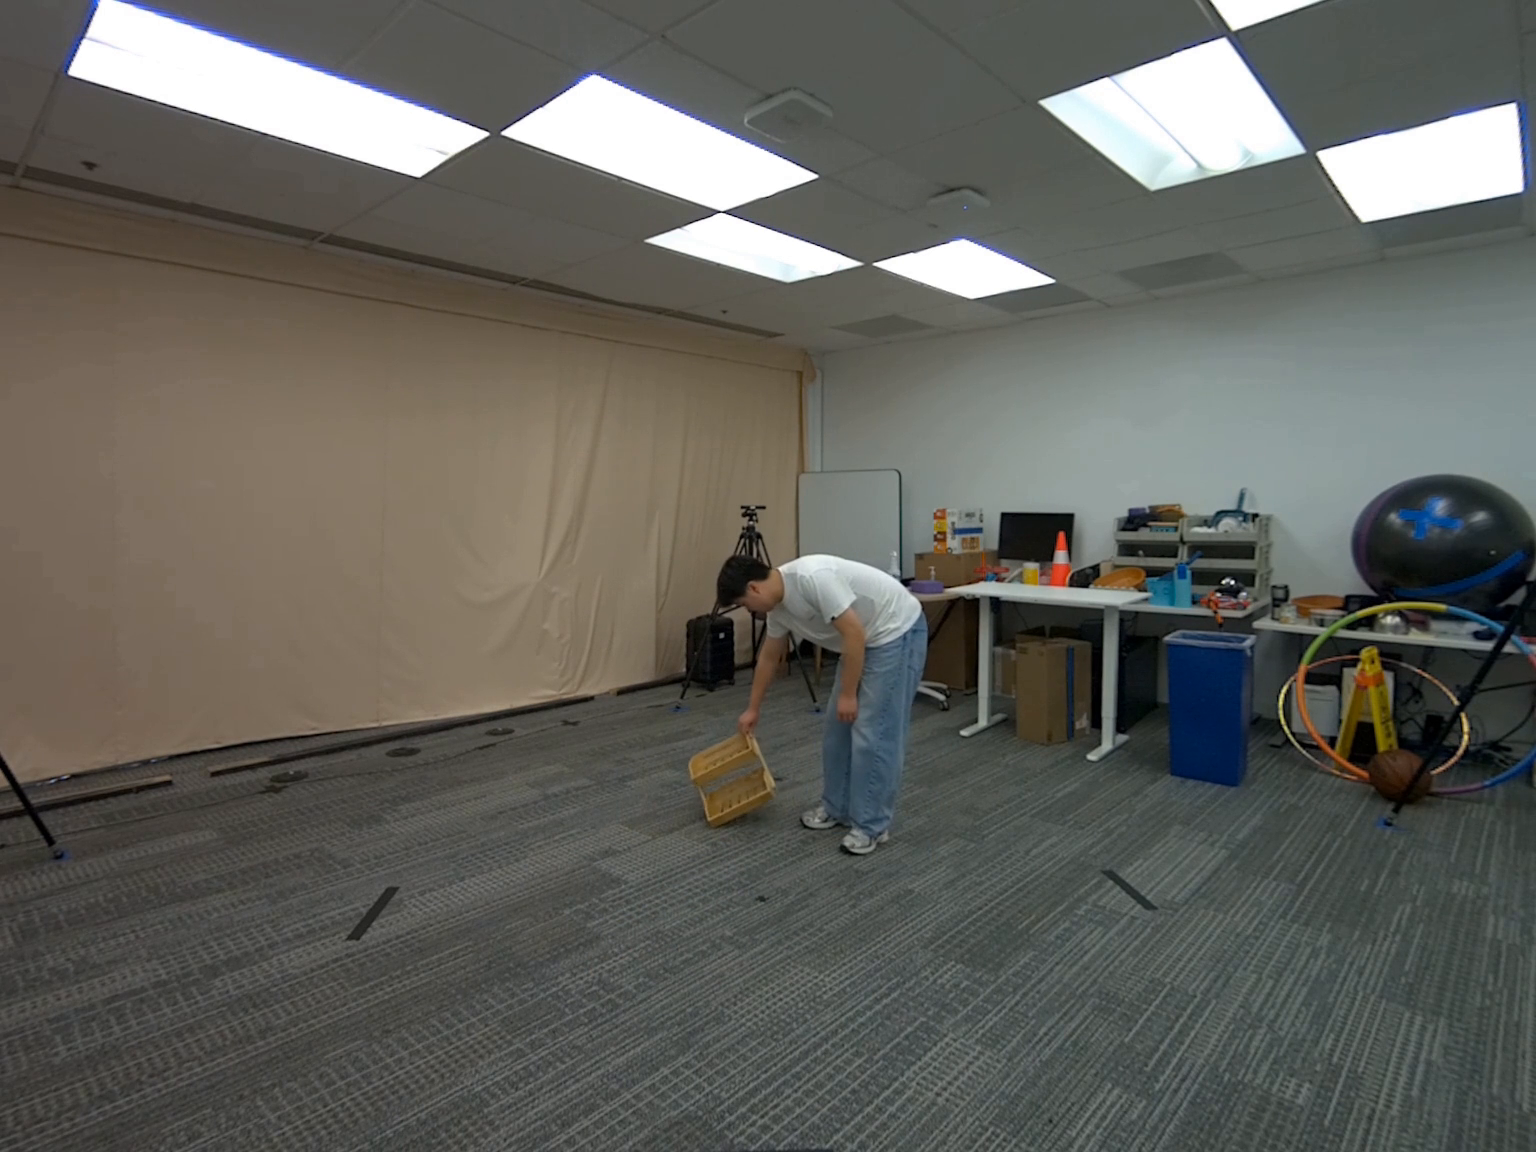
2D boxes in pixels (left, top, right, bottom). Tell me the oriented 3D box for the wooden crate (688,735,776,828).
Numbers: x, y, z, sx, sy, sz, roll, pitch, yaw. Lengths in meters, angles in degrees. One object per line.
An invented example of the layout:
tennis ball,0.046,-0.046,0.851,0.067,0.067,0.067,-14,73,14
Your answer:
wooden crate,-0.160,0.895,3.754,0.325,0.273,0.301,-27,1,4
